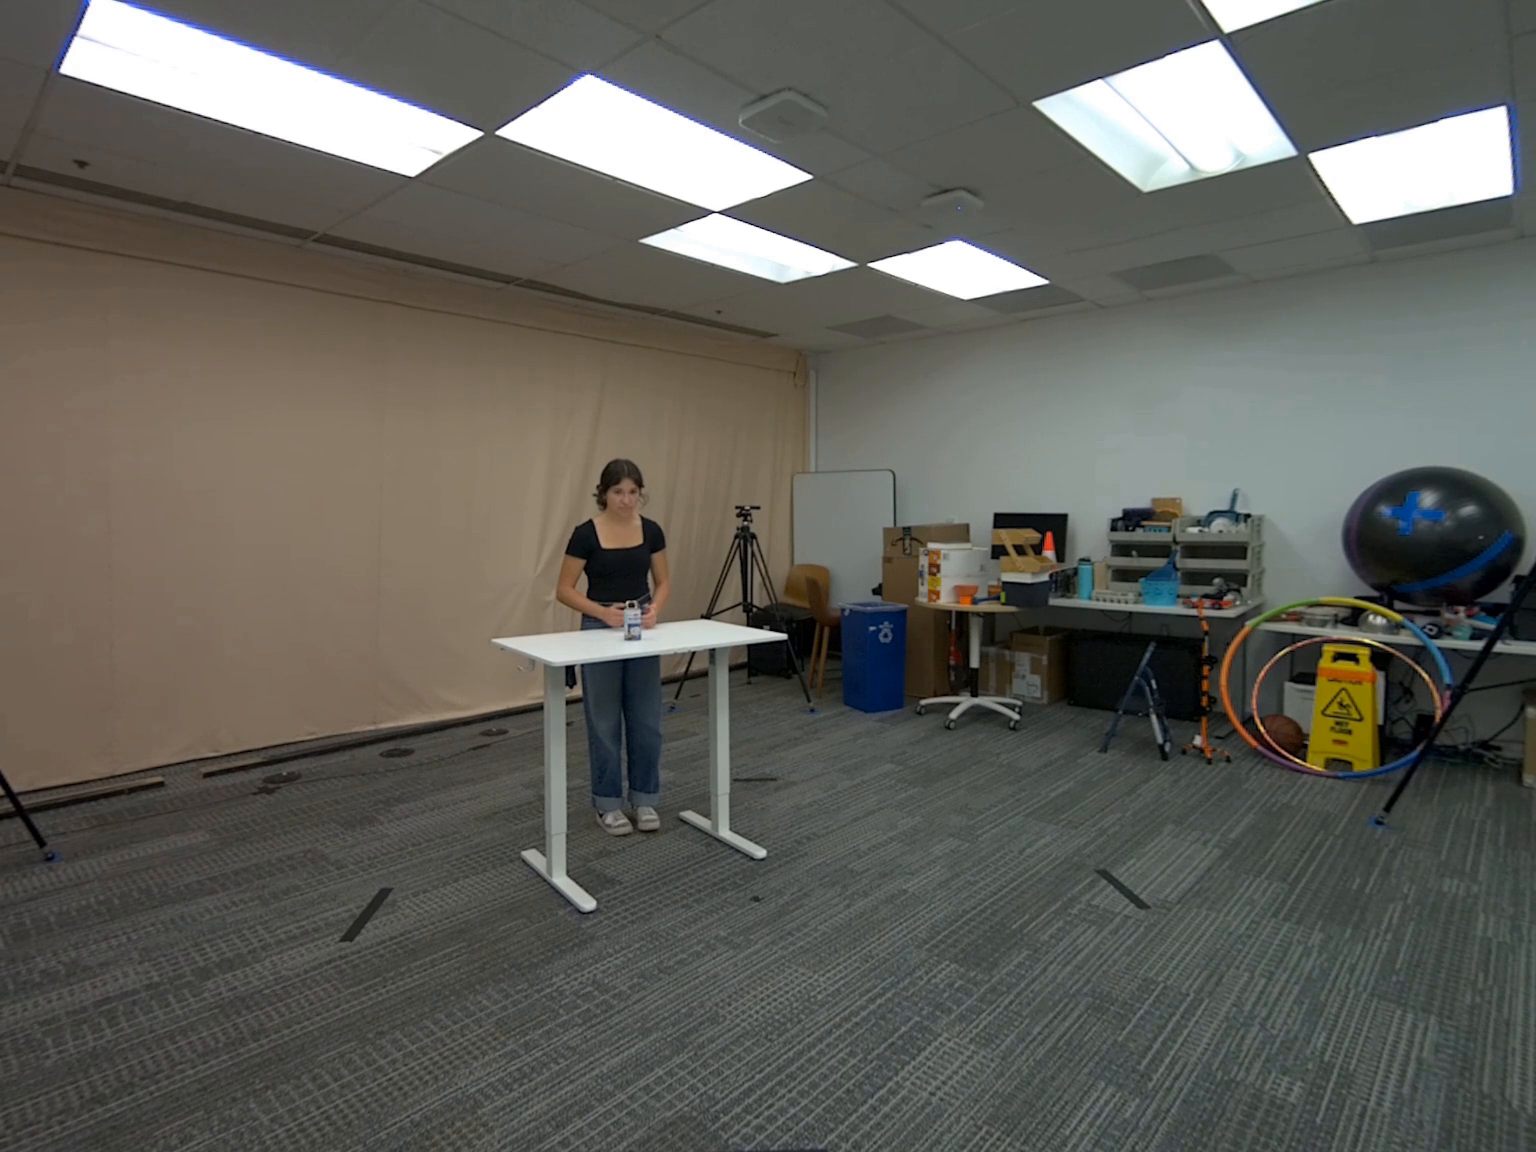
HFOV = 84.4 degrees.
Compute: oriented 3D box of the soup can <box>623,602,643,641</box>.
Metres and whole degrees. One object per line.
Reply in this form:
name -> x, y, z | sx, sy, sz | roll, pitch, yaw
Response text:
soup can -> -0.524, 0.188, 3.233 | 0.067, 0.121, 0.067 | -2, 3, -2
